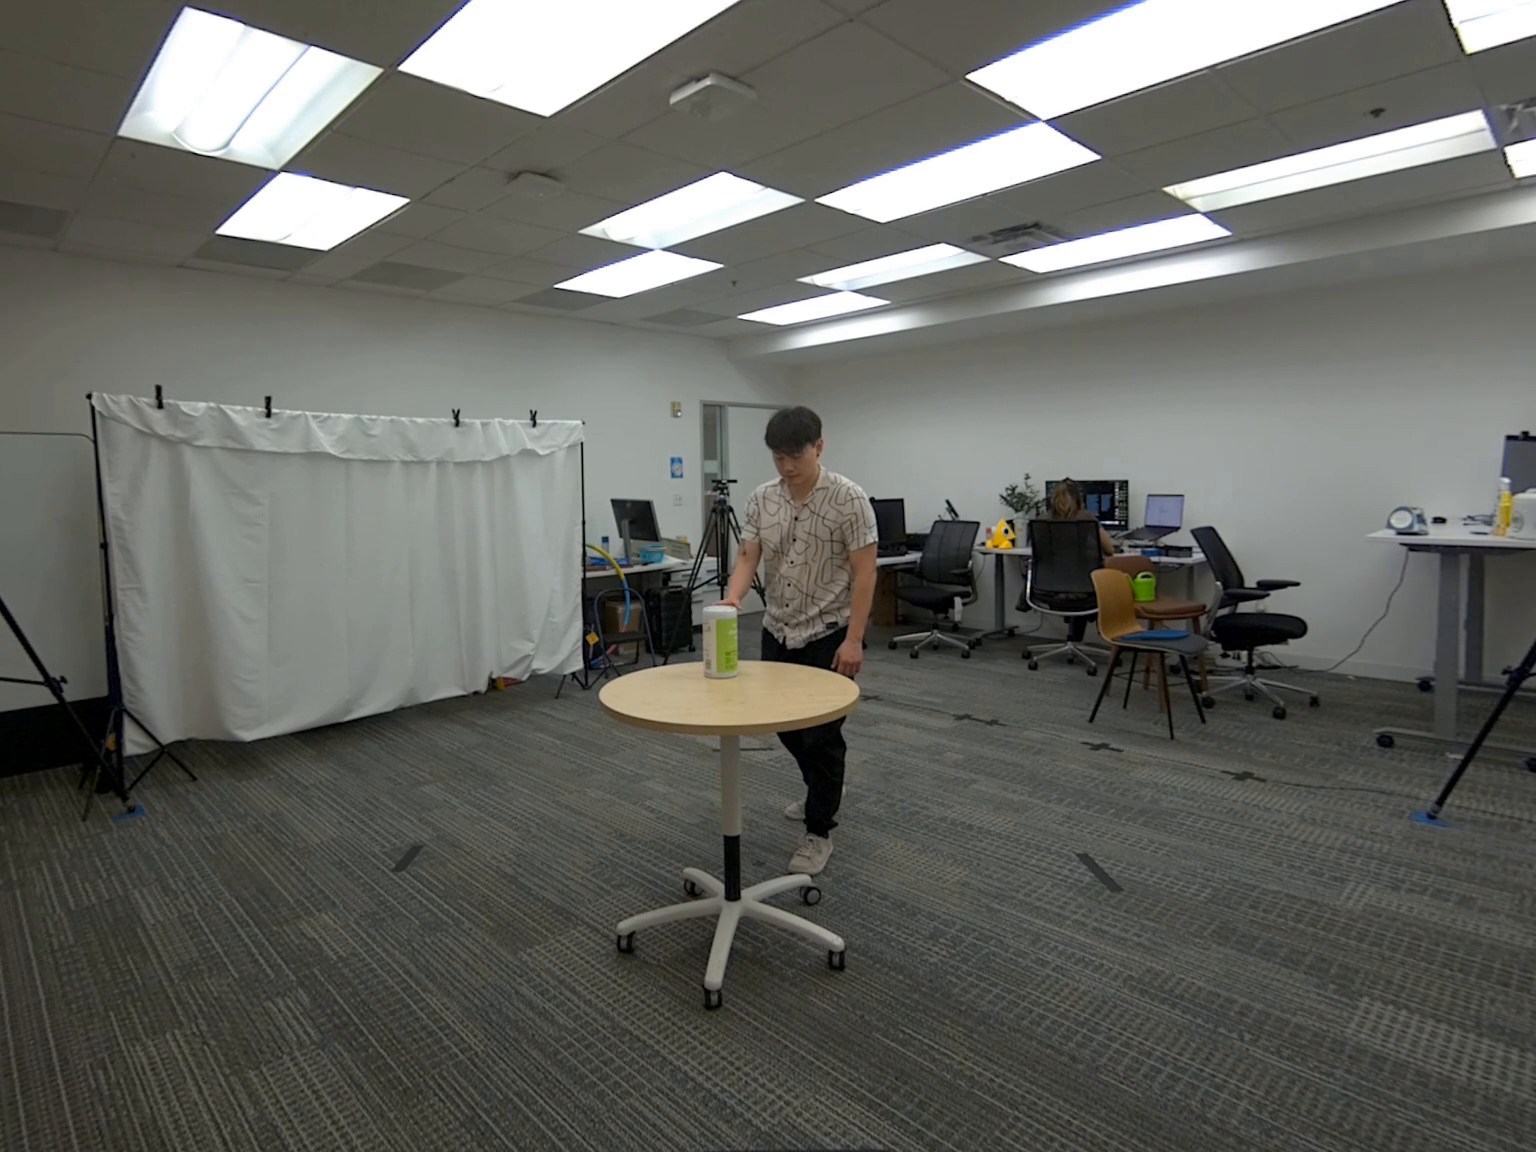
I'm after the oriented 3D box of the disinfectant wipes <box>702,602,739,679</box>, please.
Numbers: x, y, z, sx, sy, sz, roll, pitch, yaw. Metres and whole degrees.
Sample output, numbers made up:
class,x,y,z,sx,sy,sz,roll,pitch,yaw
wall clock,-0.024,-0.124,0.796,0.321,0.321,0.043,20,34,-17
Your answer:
class,x,y,z,sx,sy,sz,roll,pitch,yaw
disinfectant wipes,-0.149,0.211,2.697,0.118,0.216,0.118,-1,5,-2
